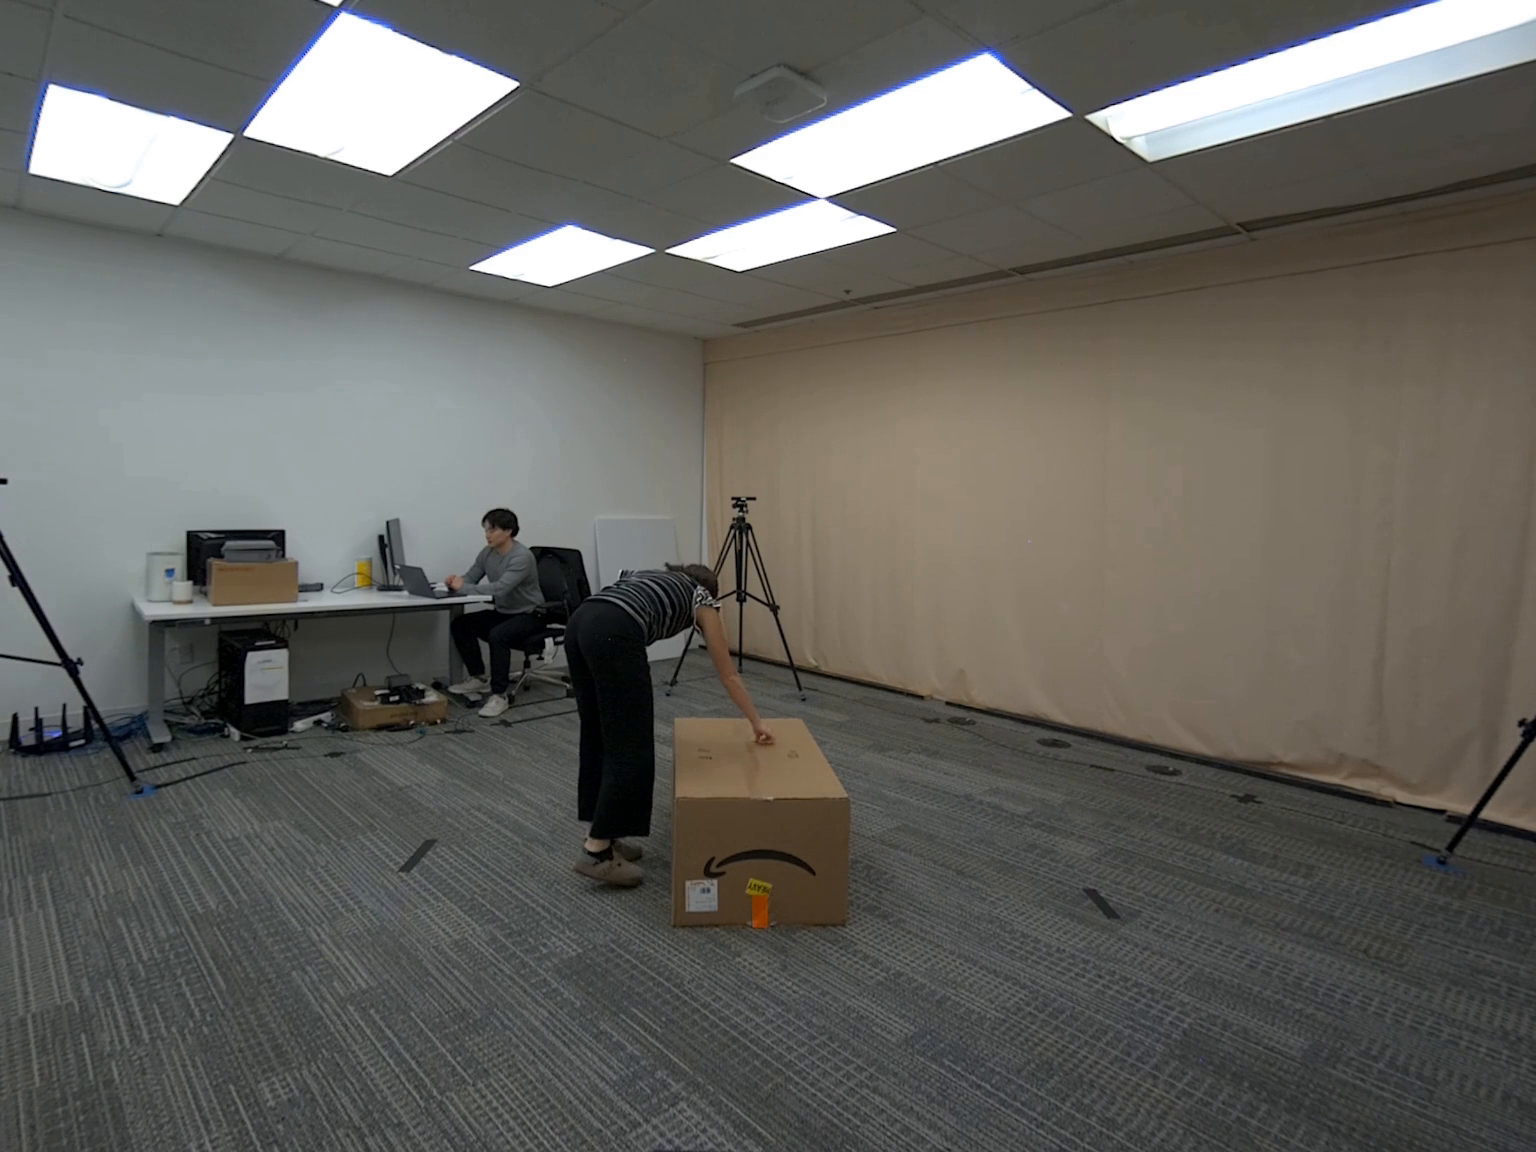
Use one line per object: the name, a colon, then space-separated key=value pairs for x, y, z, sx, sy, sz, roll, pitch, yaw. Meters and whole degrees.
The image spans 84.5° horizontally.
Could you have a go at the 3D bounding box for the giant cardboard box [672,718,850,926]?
giant cardboard box: x=-0.084 y=0.888 z=3.232 sx=0.575 sy=0.425 sz=1.033 roll=1 pitch=5 yaw=-6
